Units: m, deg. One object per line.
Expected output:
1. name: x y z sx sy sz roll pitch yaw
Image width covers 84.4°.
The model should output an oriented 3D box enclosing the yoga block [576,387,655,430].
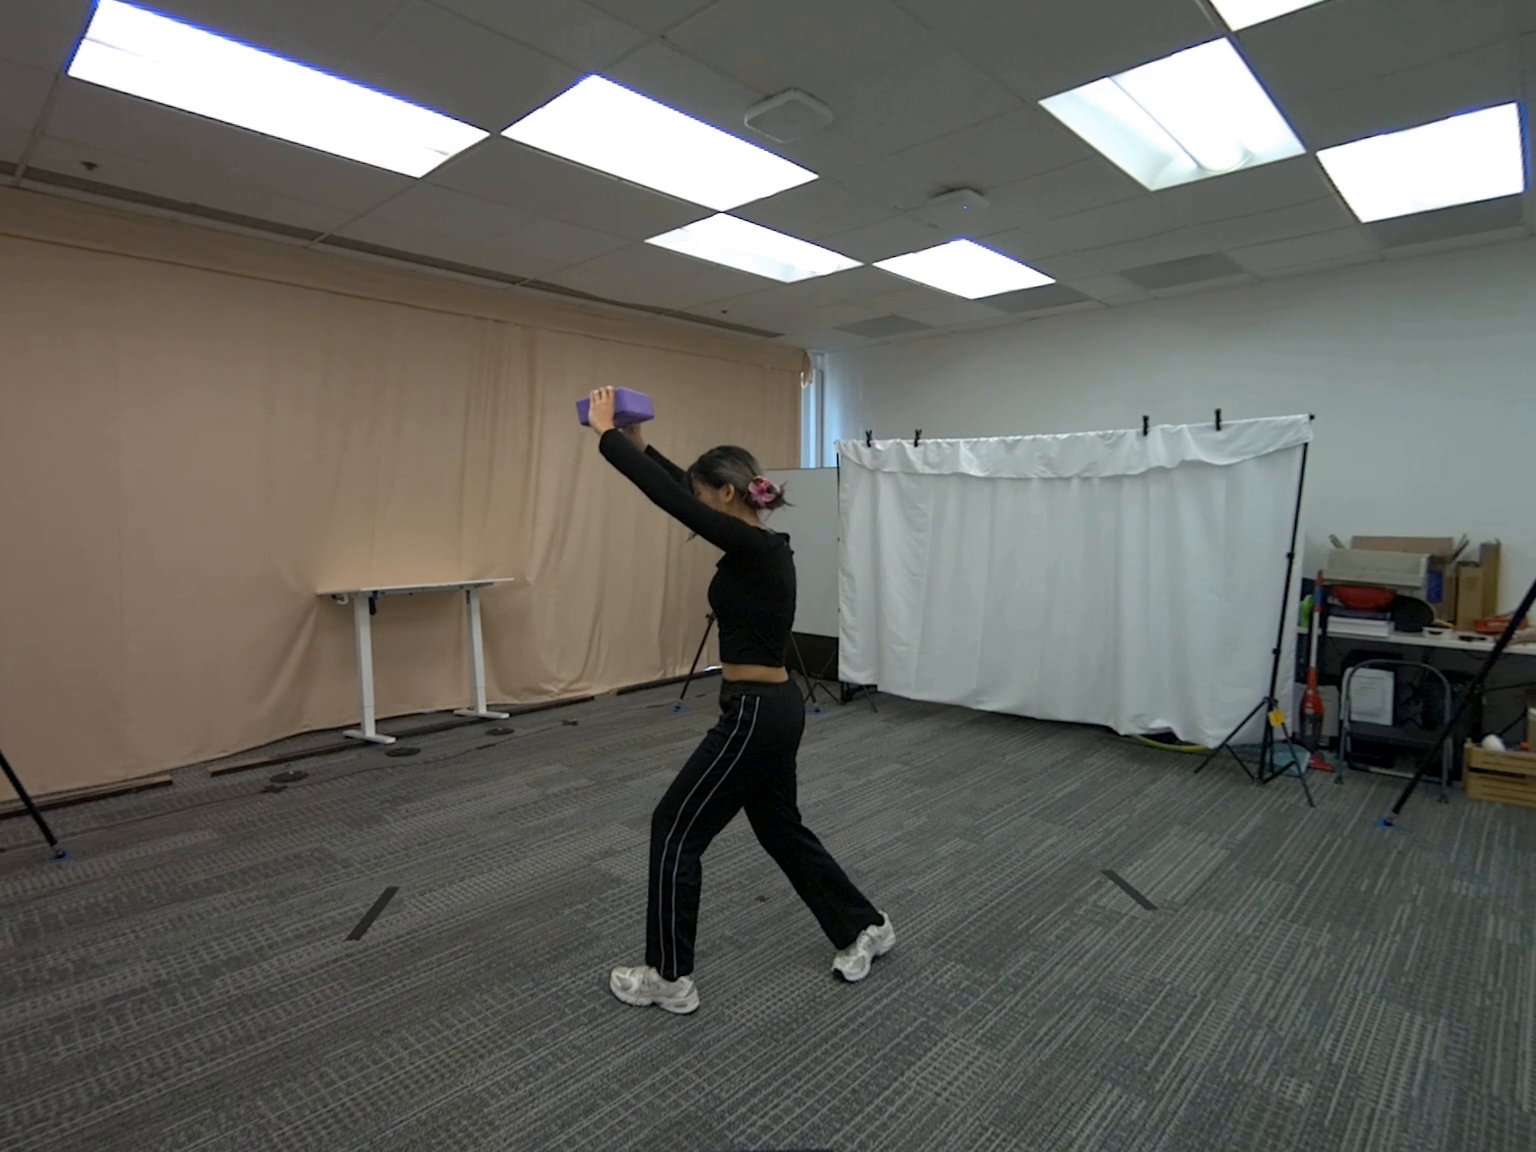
1. yoga block: -0.427 -0.477 2.414 0.151 0.076 0.227 -12 4 12
